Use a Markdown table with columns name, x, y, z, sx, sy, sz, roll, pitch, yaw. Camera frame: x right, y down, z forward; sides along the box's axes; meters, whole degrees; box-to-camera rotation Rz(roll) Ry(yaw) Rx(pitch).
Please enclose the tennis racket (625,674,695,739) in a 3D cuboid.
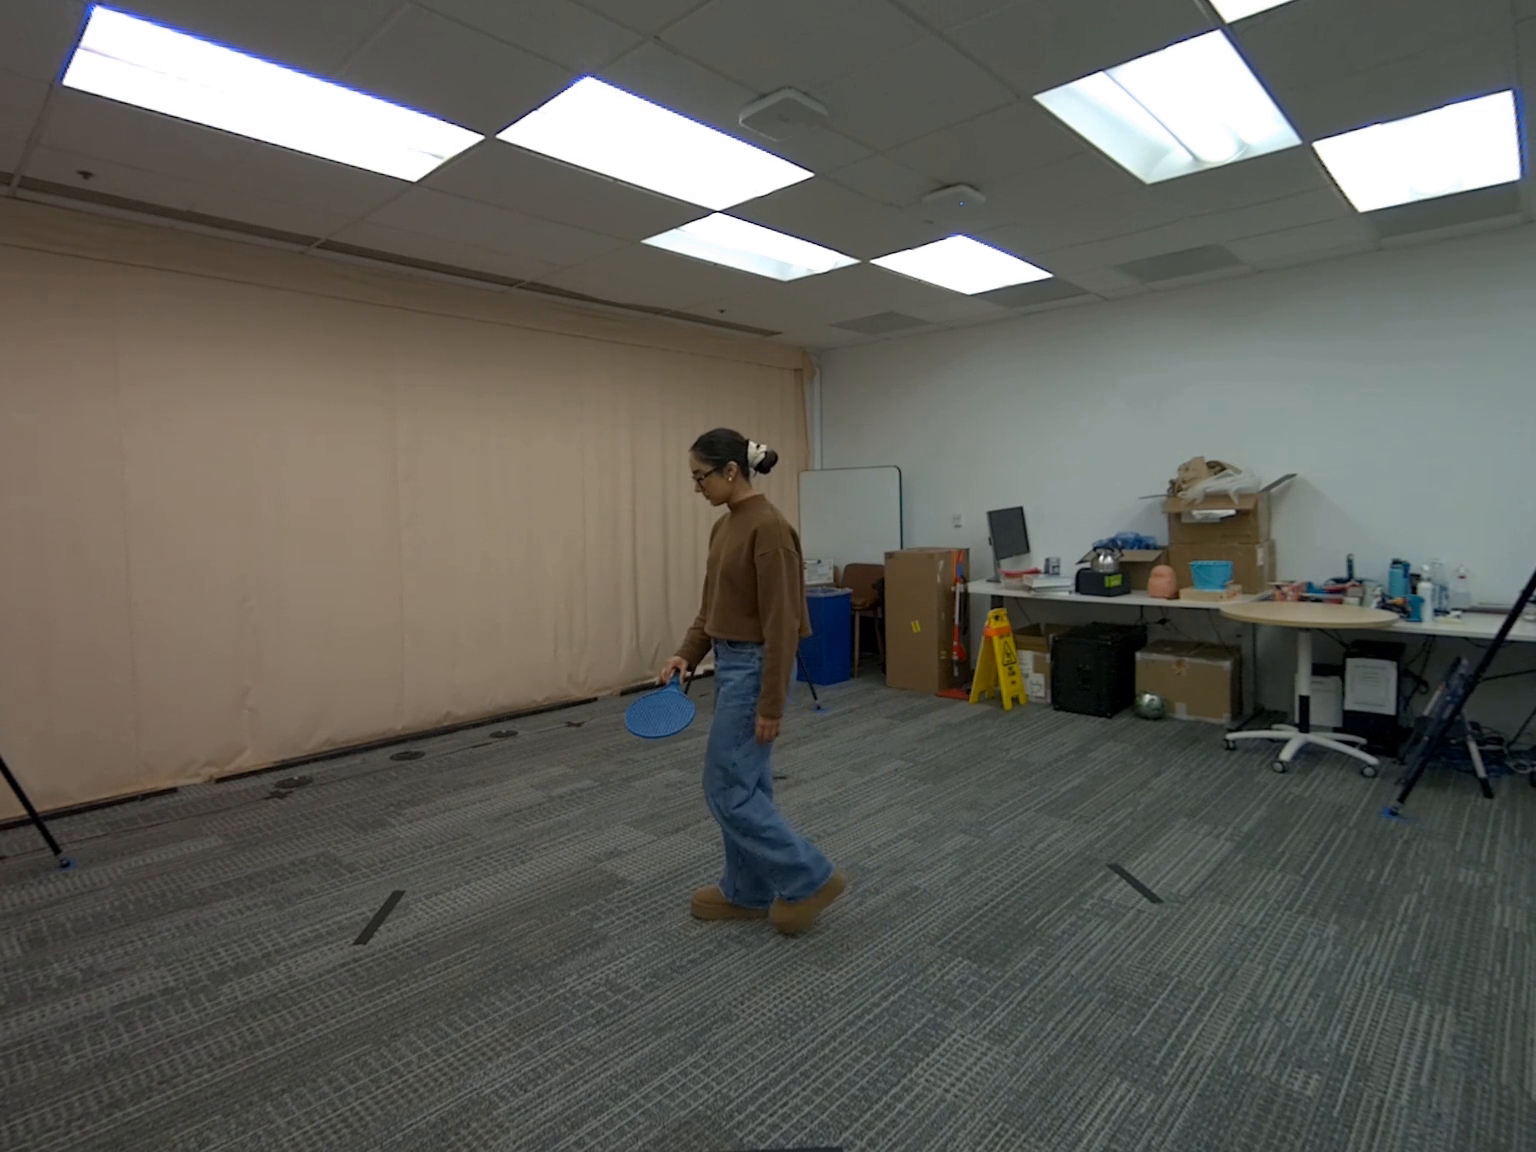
| name | x | y | z | sx | sy | sz | roll | pitch | yaw |
| --- | --- | --- | --- | --- | --- | --- | --- | --- | --- |
| tennis racket | -0.303 | 0.394 | 2.667 | 0.217 | 0.031 | 0.432 | 4 | 20 | 11 |
